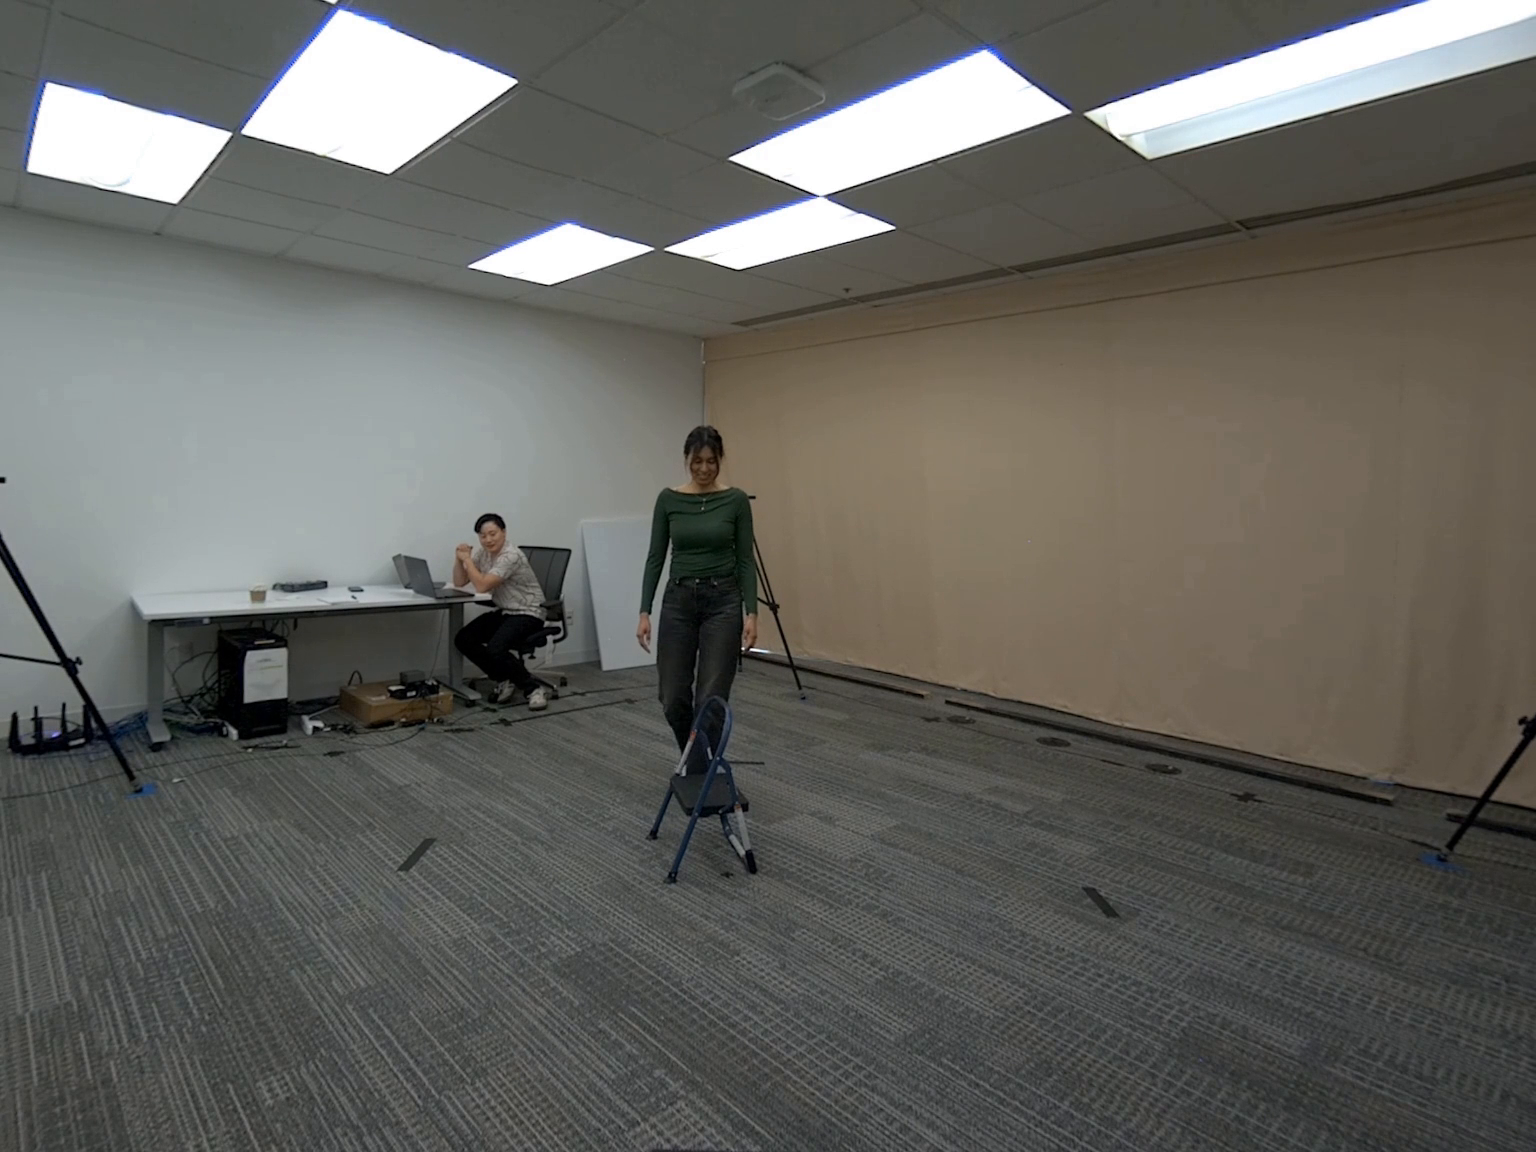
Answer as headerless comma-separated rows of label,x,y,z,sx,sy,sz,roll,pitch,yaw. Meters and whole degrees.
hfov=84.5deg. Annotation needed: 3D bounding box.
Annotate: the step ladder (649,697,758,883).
step ladder,-0.264,0.784,3.249,0.345,0.604,0.437,0,4,-17
